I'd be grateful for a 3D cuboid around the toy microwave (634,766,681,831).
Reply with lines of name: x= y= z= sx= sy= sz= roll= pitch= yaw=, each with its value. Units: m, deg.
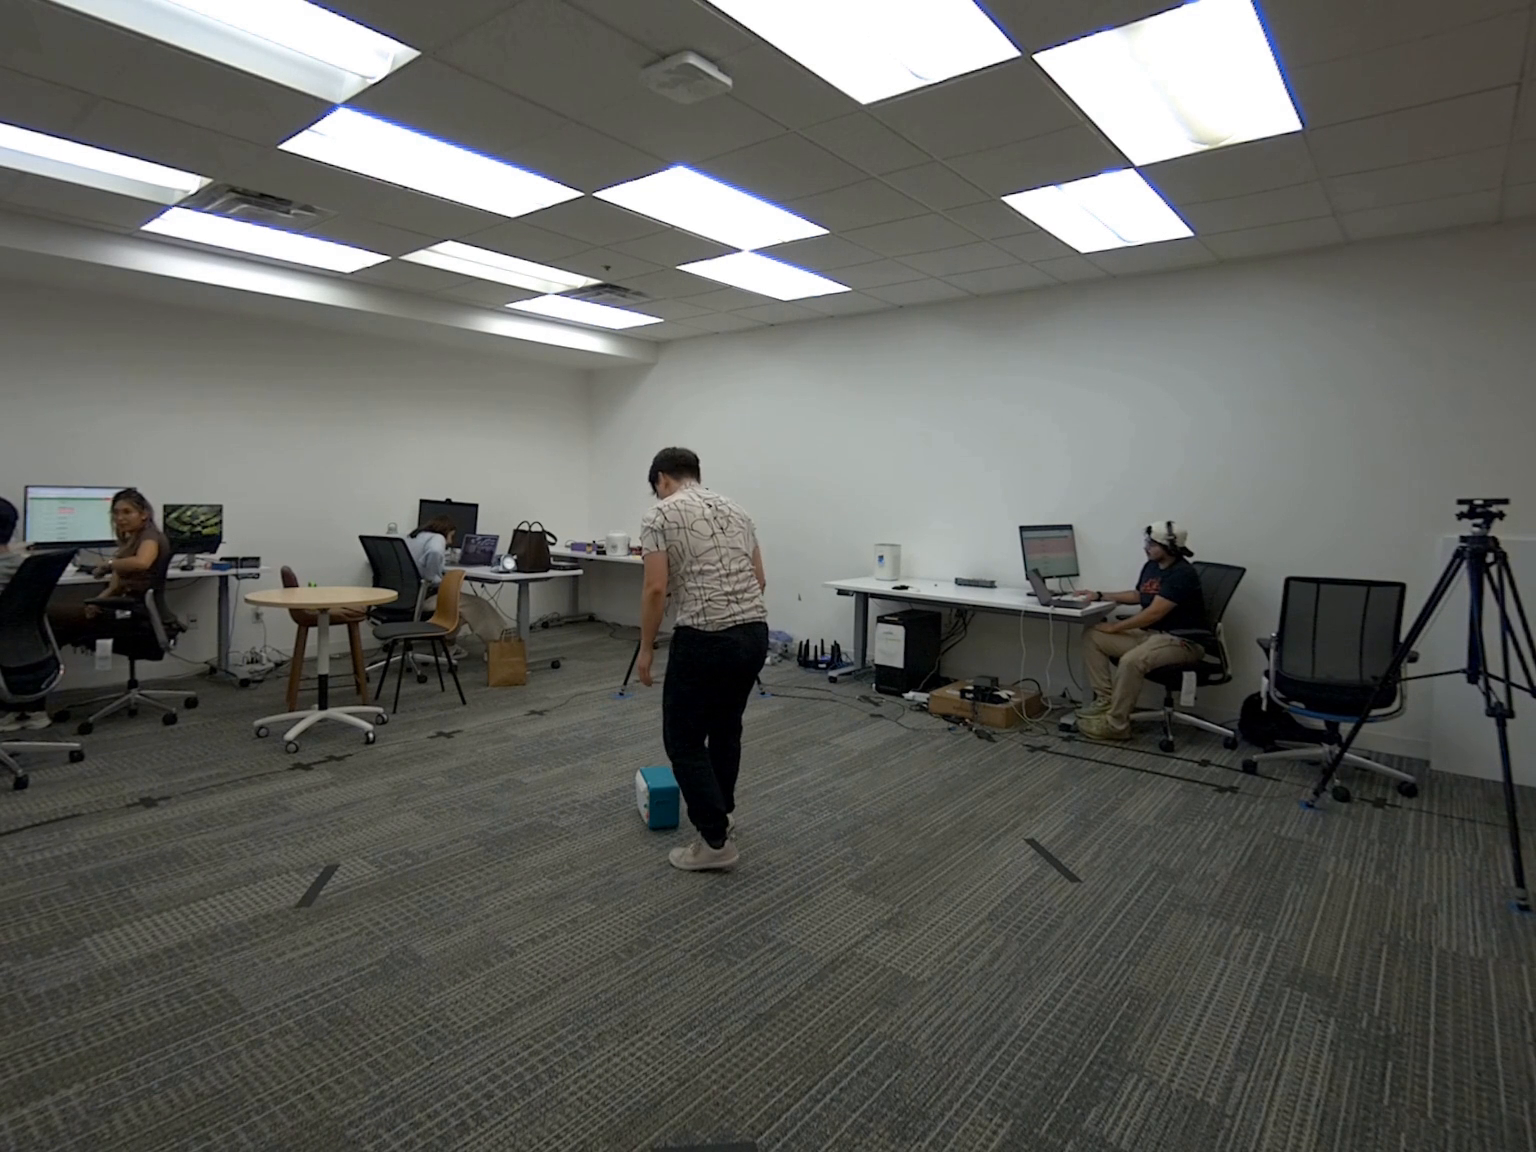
toy microwave: x=-0.481 y=0.926 z=3.585 sx=0.150 sy=0.183 sz=0.292 roll=0 pitch=5 yaw=-17
